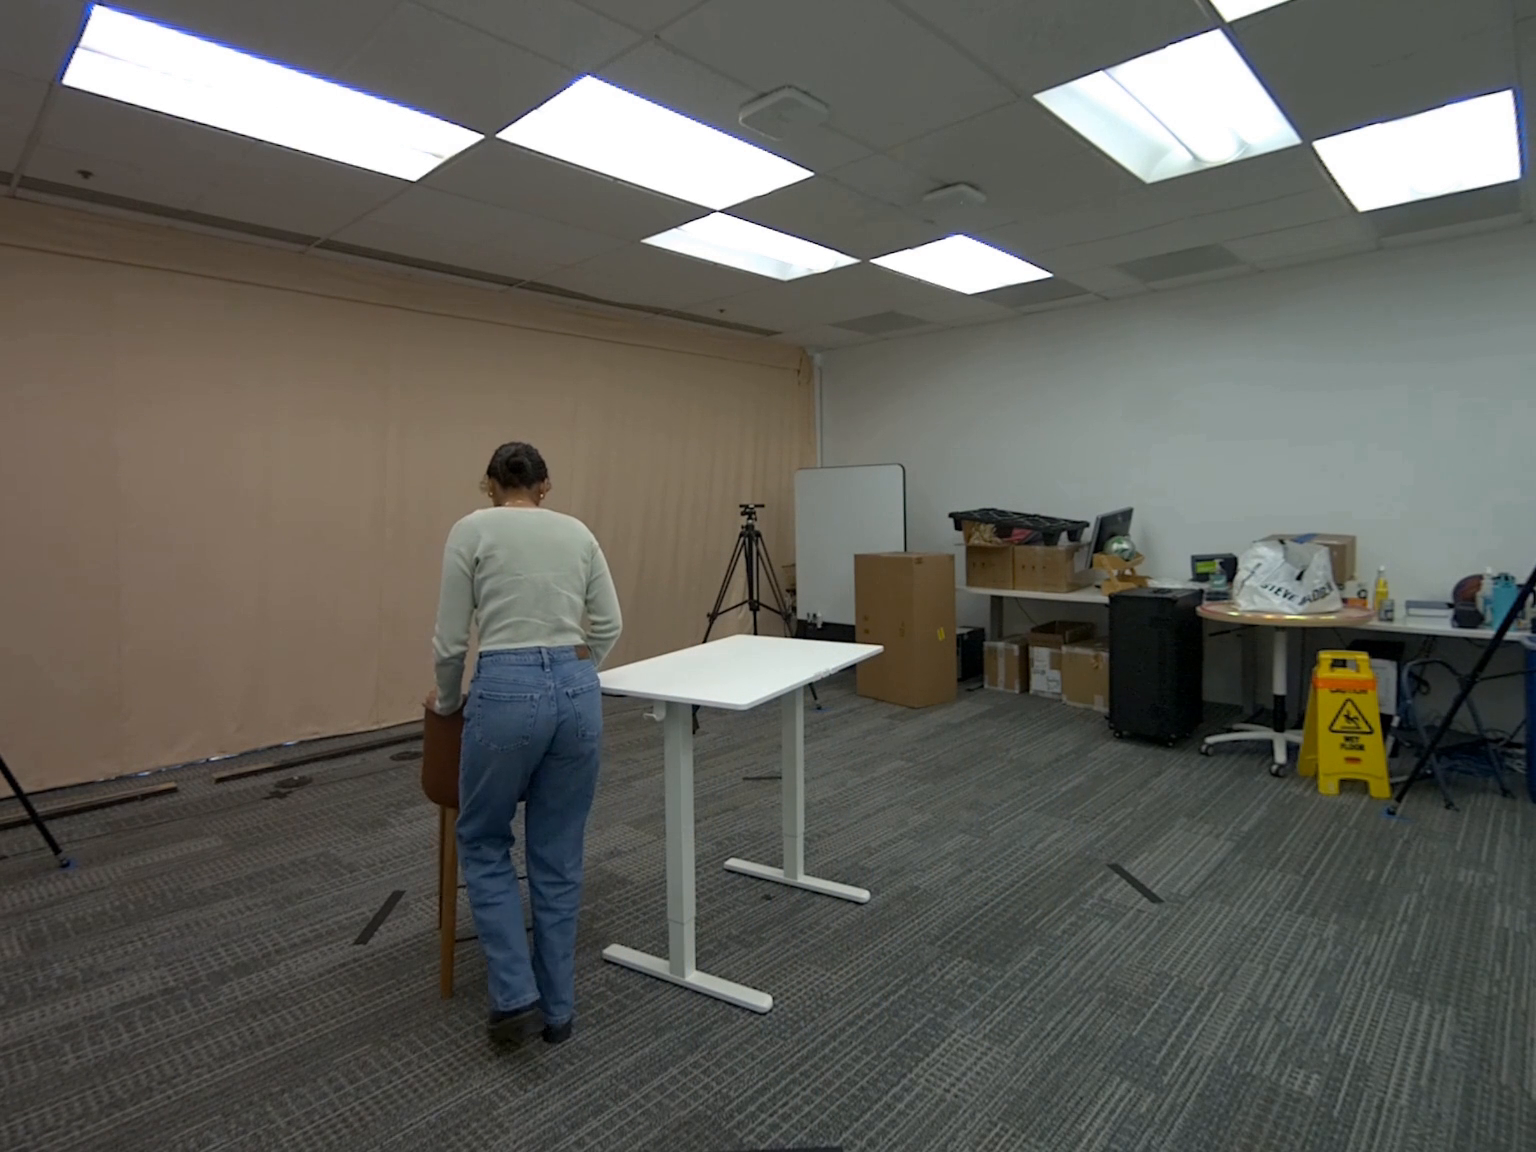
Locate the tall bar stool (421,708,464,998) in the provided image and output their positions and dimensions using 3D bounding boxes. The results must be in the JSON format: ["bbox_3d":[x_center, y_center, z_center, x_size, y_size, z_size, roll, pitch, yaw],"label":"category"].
[{"bbox_3d":[-0.852,0.754,2.637,0.449,0.887,0.477,-2,5,-18],"label":"tall bar stool"}]
